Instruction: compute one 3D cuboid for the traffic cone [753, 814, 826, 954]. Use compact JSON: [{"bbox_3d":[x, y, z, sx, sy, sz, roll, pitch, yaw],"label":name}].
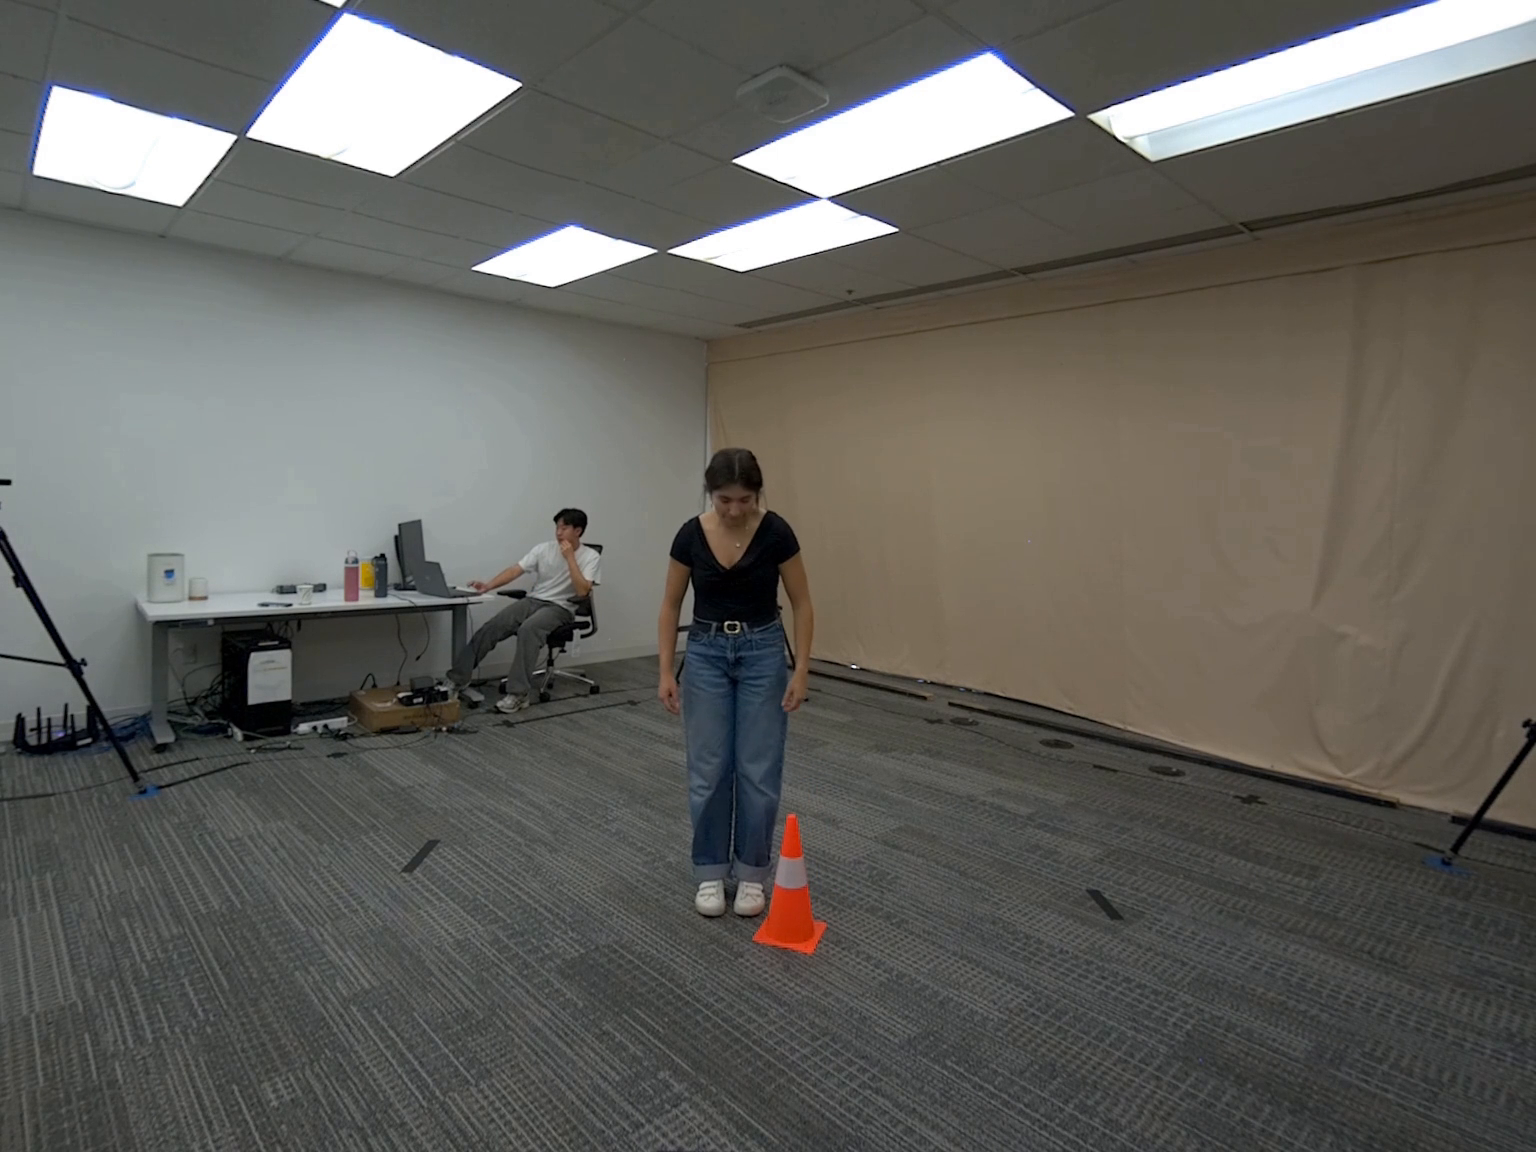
[{"bbox_3d":[0.064,0.963,2.692,0.208,0.383,0.200,2,1,18],"label":"traffic cone"}]
